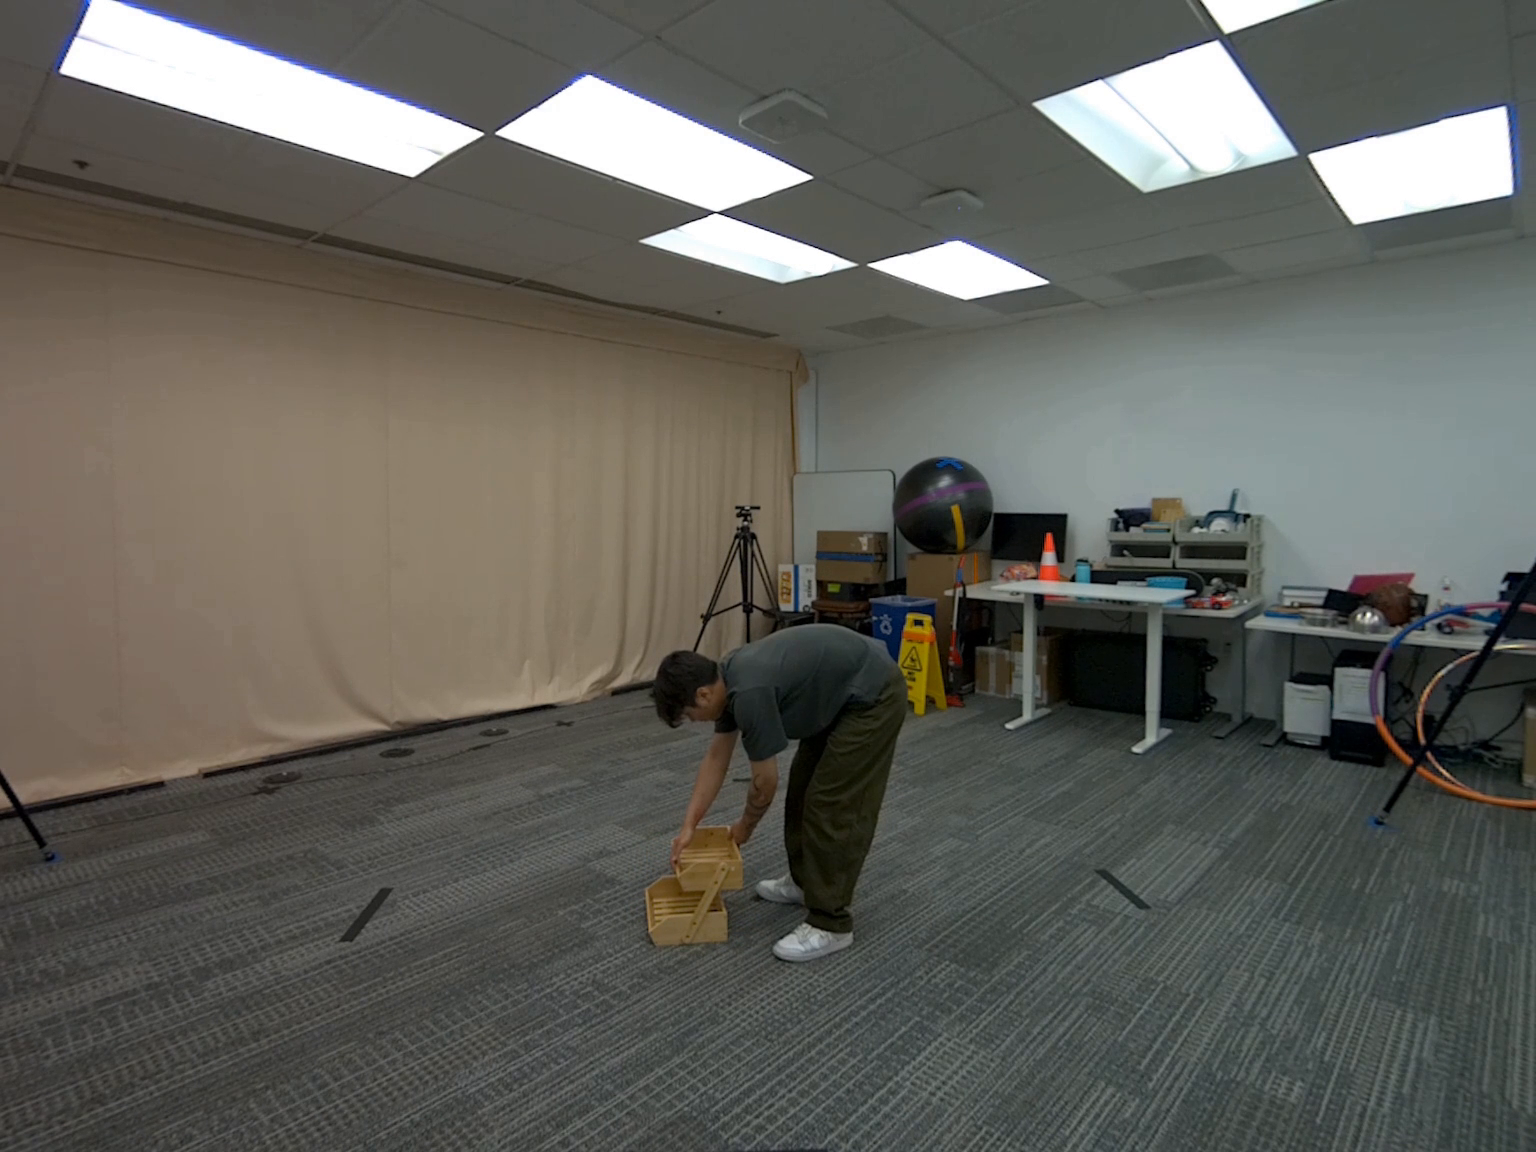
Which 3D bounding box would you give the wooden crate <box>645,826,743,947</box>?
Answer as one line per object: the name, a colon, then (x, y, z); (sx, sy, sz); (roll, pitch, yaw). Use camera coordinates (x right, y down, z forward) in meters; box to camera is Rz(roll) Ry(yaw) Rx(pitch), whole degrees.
wooden crate: (-0.265, 1.028, 2.824); (0.299, 0.273, 0.328); (-1, 4, -9)
